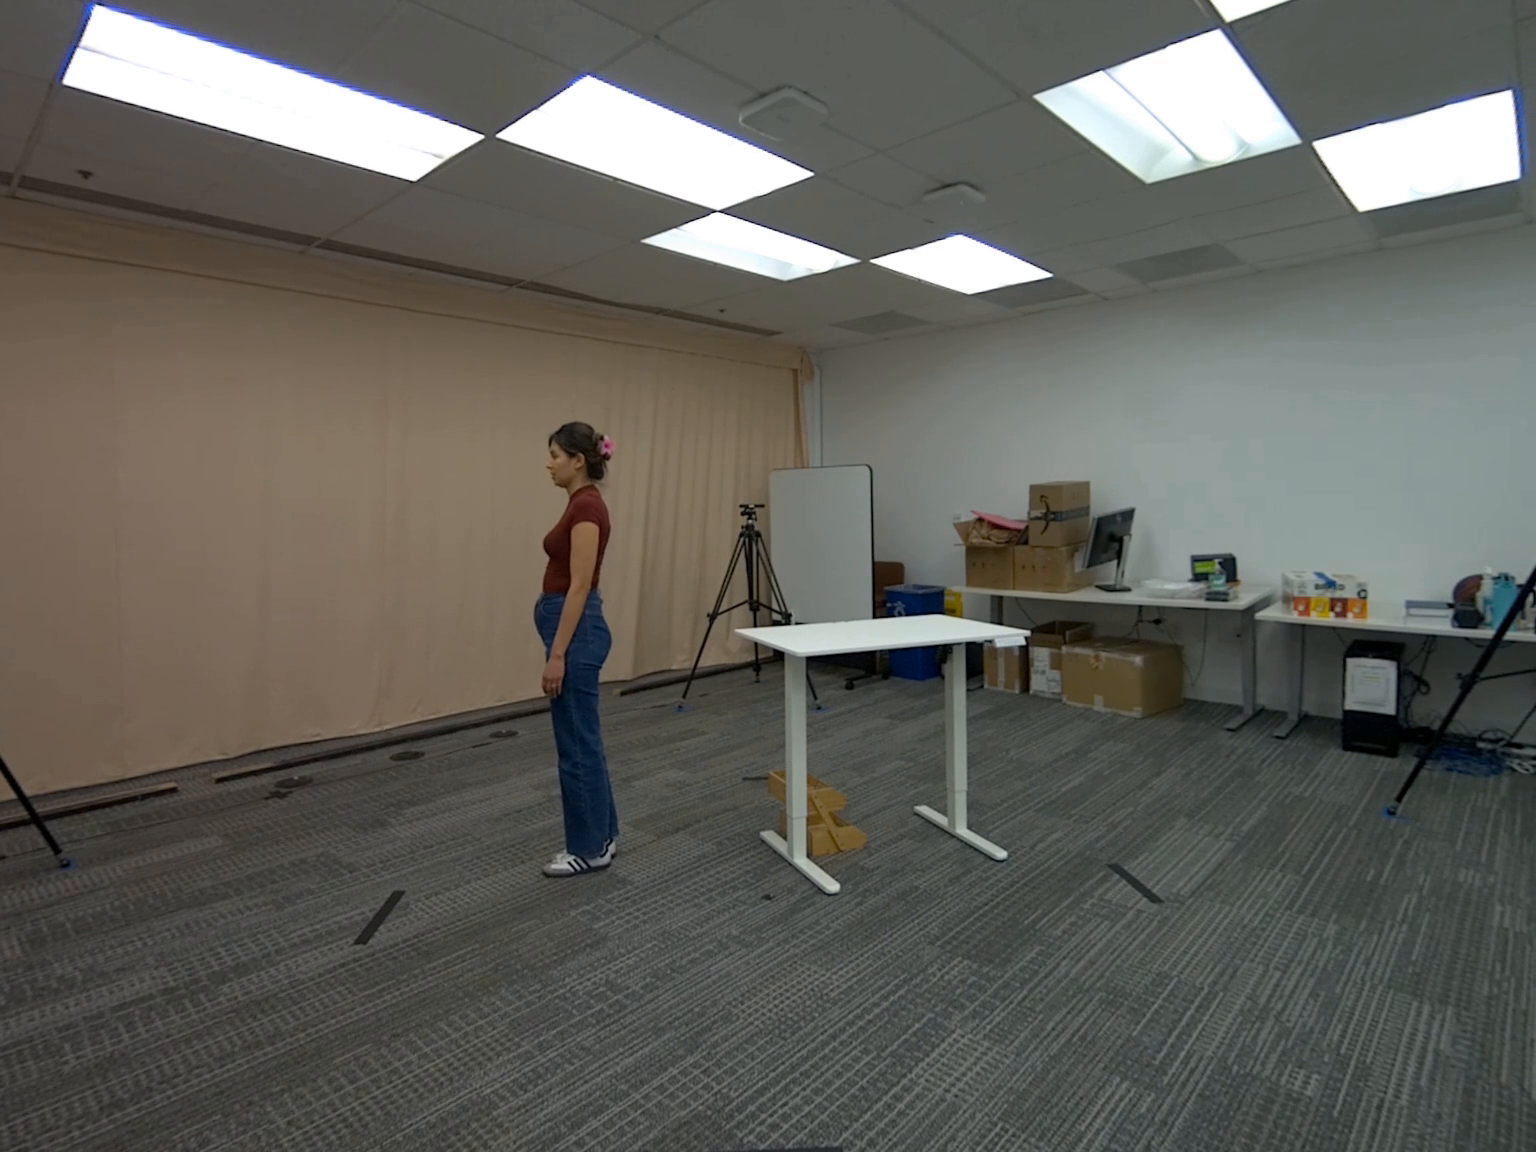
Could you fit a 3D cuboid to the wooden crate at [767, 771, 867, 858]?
[{"bbox_3d":[0.207,0.958,3.487,0.295,0.272,0.332,-3,5,-23],"label":"wooden crate"}]
